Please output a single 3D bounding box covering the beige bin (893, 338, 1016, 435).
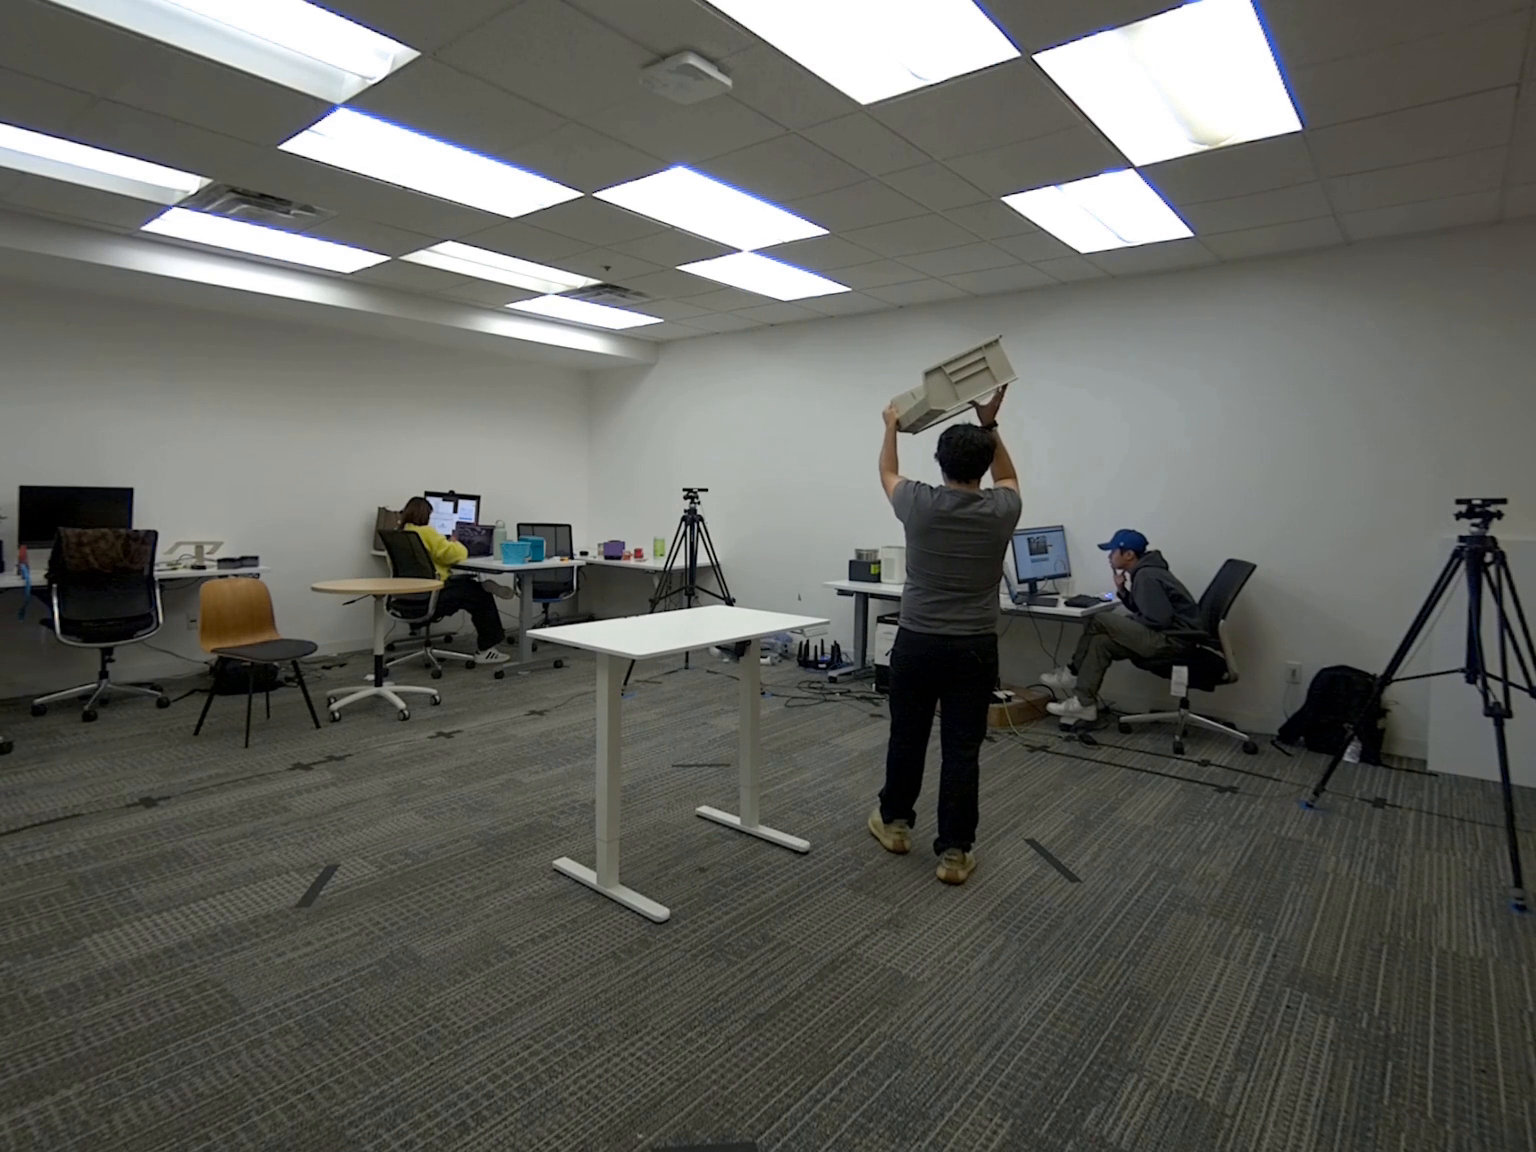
[{"bbox_3d":[0.698,-0.733,3.366,0.376,0.189,0.423,-26,0,-8],"label":"beige bin"}]
